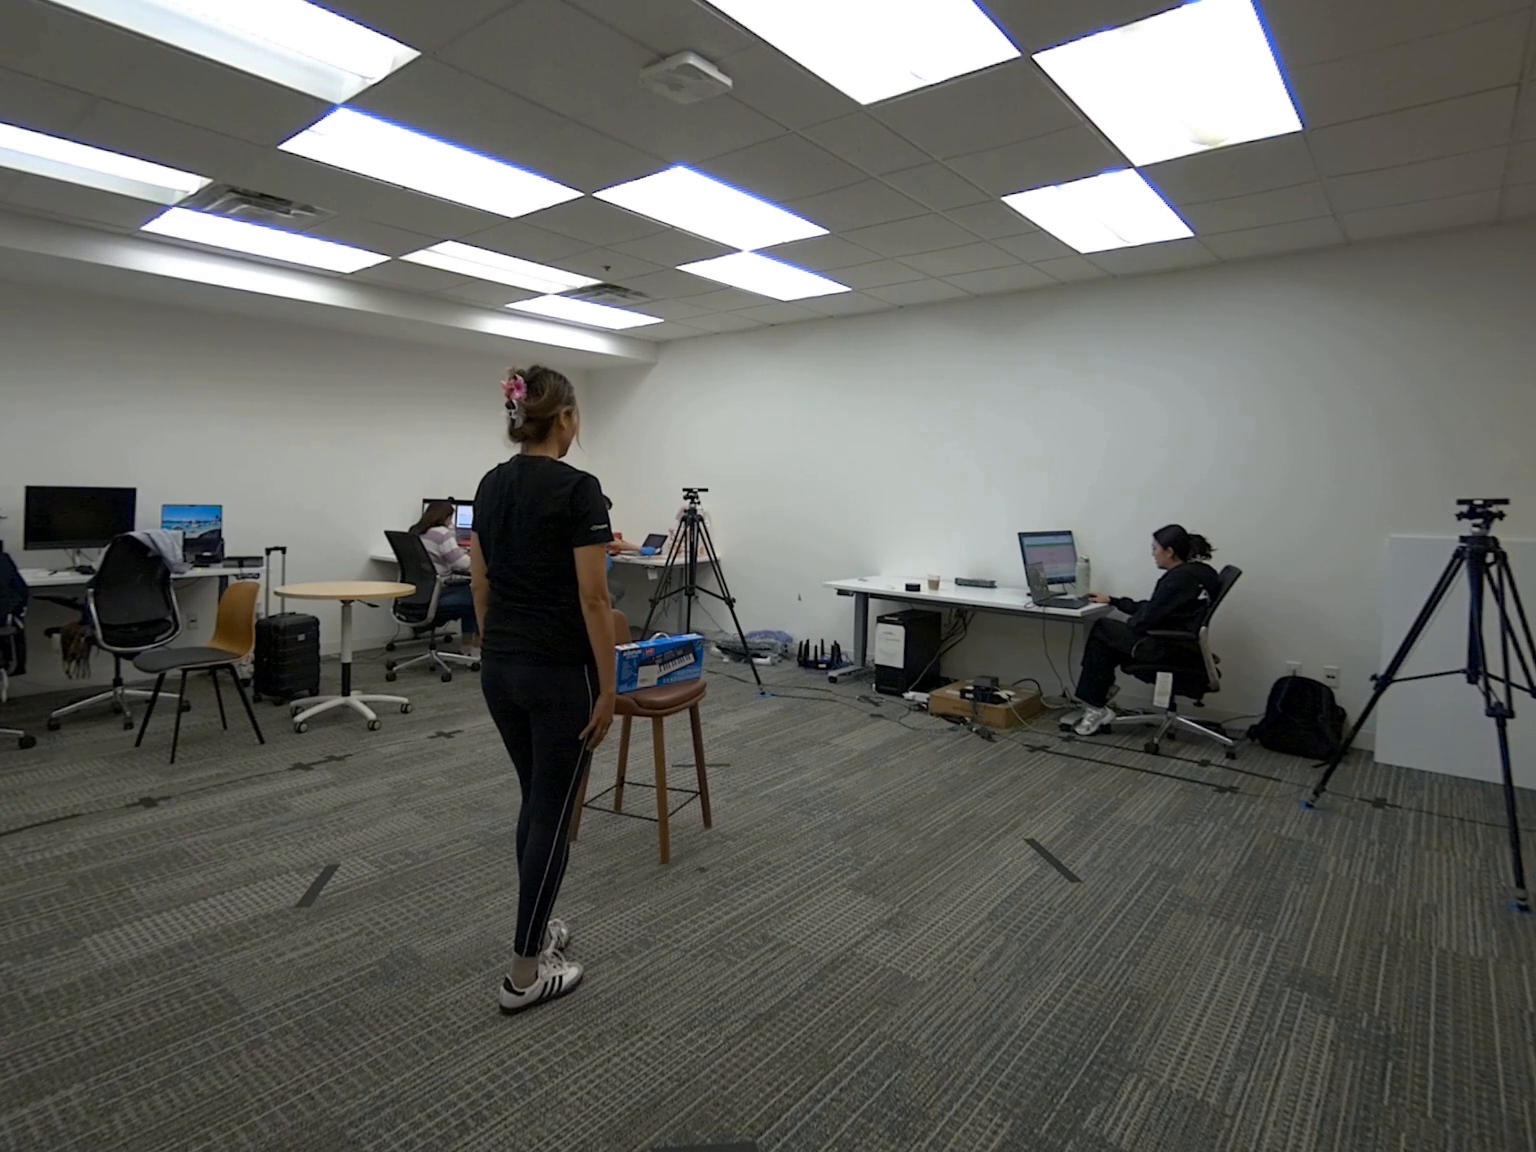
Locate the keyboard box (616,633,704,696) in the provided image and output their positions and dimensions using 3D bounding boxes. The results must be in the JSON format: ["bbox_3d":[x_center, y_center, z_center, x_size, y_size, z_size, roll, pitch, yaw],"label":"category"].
[{"bbox_3d":[-0.446,0.343,3.349,0.061,0.174,0.424,13,13,42],"label":"keyboard box"}]
